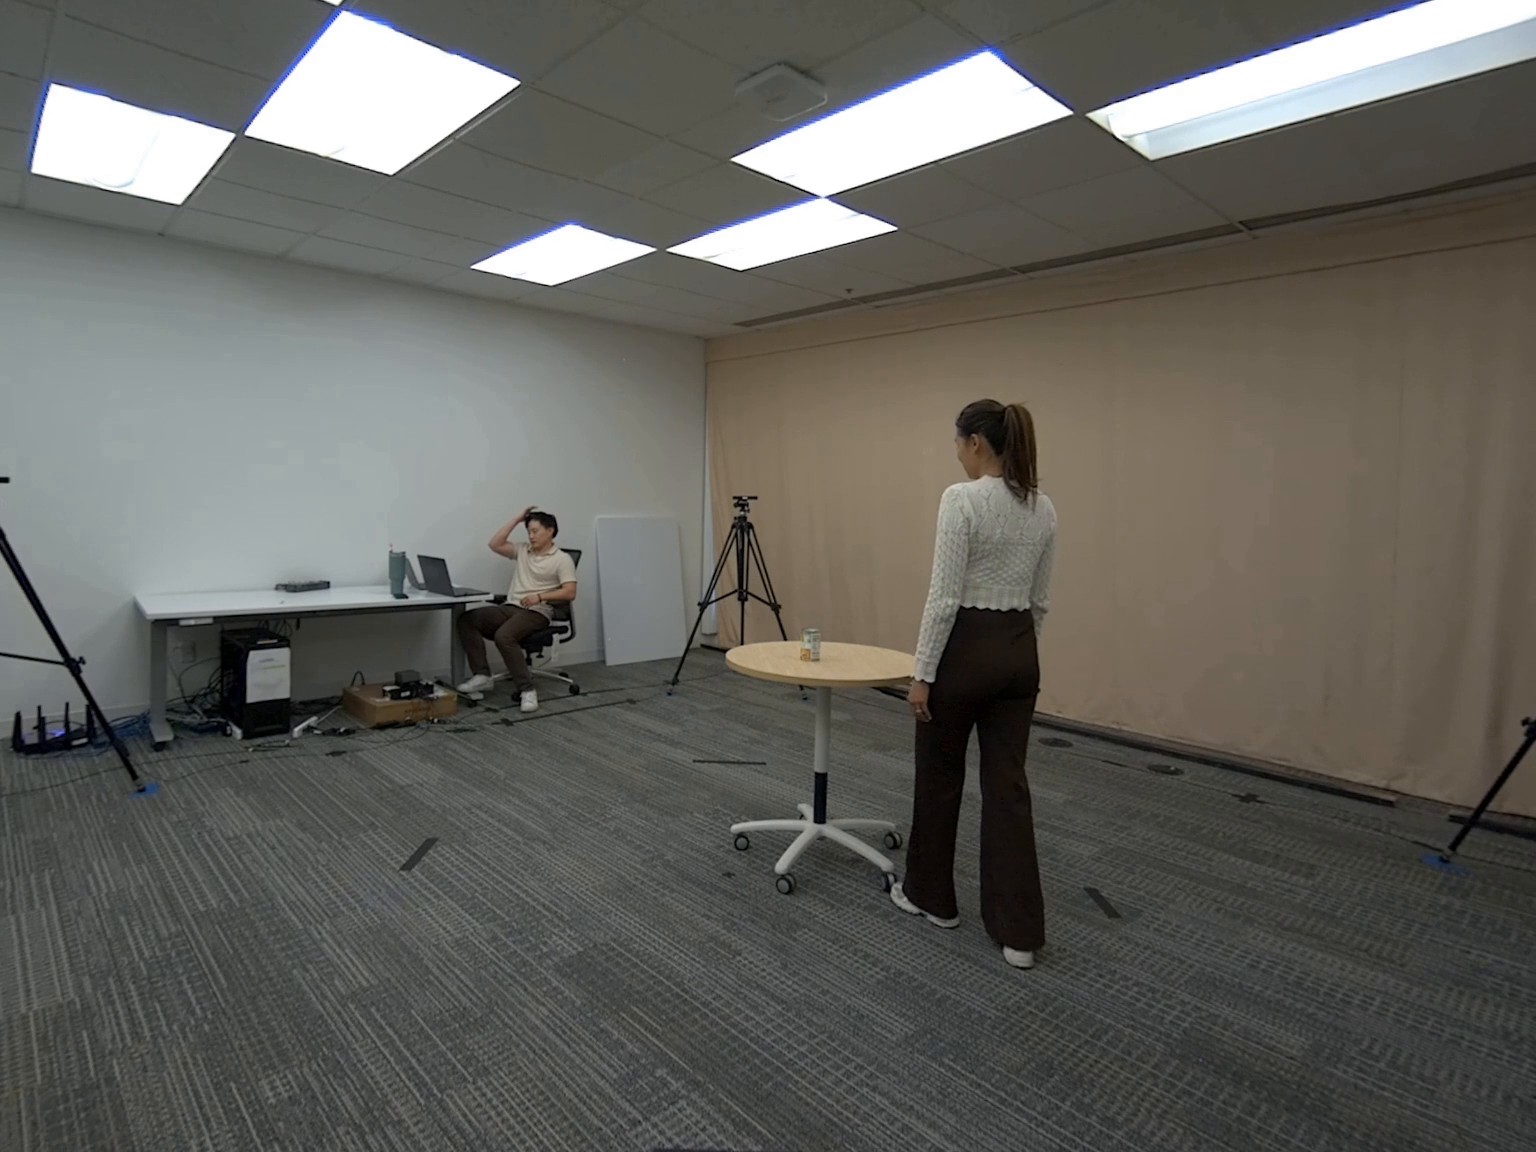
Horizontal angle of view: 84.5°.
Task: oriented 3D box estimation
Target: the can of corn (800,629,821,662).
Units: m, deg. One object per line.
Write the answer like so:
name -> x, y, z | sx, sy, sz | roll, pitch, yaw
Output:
can of corn -> 0.157, 0.260, 3.192 | 0.074, 0.111, 0.074 | 2, 4, -1
